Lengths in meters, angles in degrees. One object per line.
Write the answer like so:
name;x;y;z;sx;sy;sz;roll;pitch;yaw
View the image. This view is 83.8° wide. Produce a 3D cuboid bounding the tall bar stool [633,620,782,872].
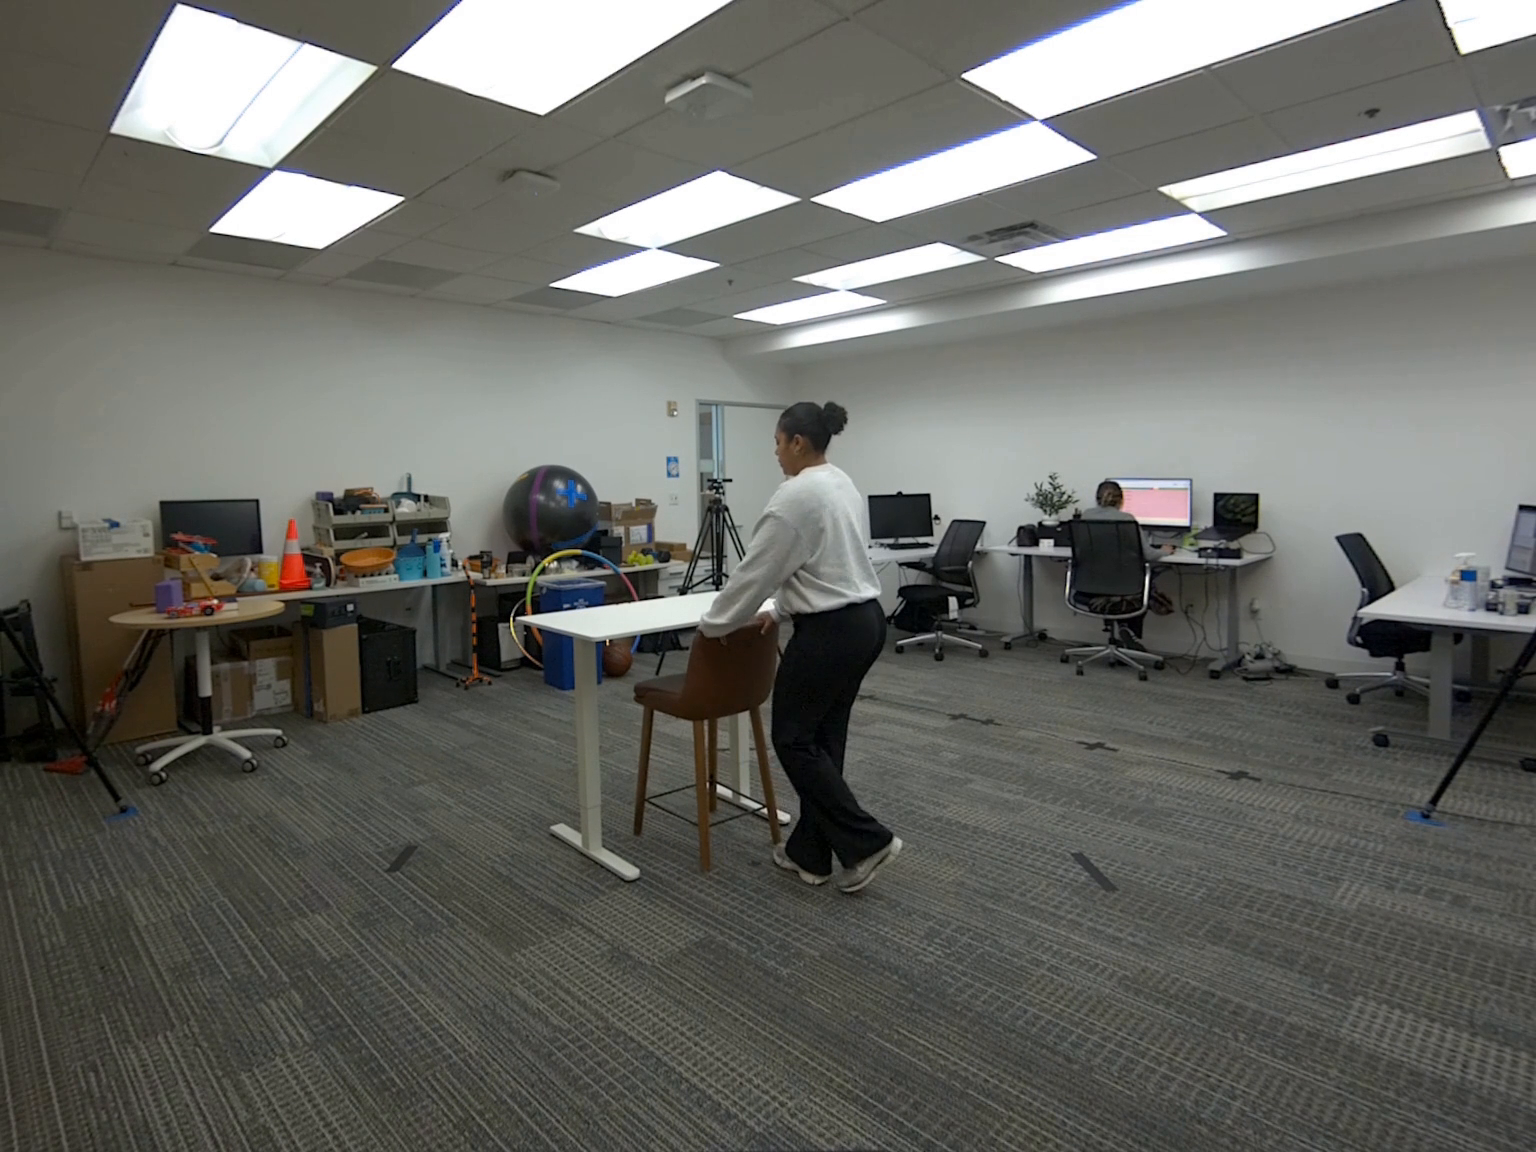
tall bar stool;-0.227;0.591;3.292;0.444;0.886;0.482;-3;7;-40
